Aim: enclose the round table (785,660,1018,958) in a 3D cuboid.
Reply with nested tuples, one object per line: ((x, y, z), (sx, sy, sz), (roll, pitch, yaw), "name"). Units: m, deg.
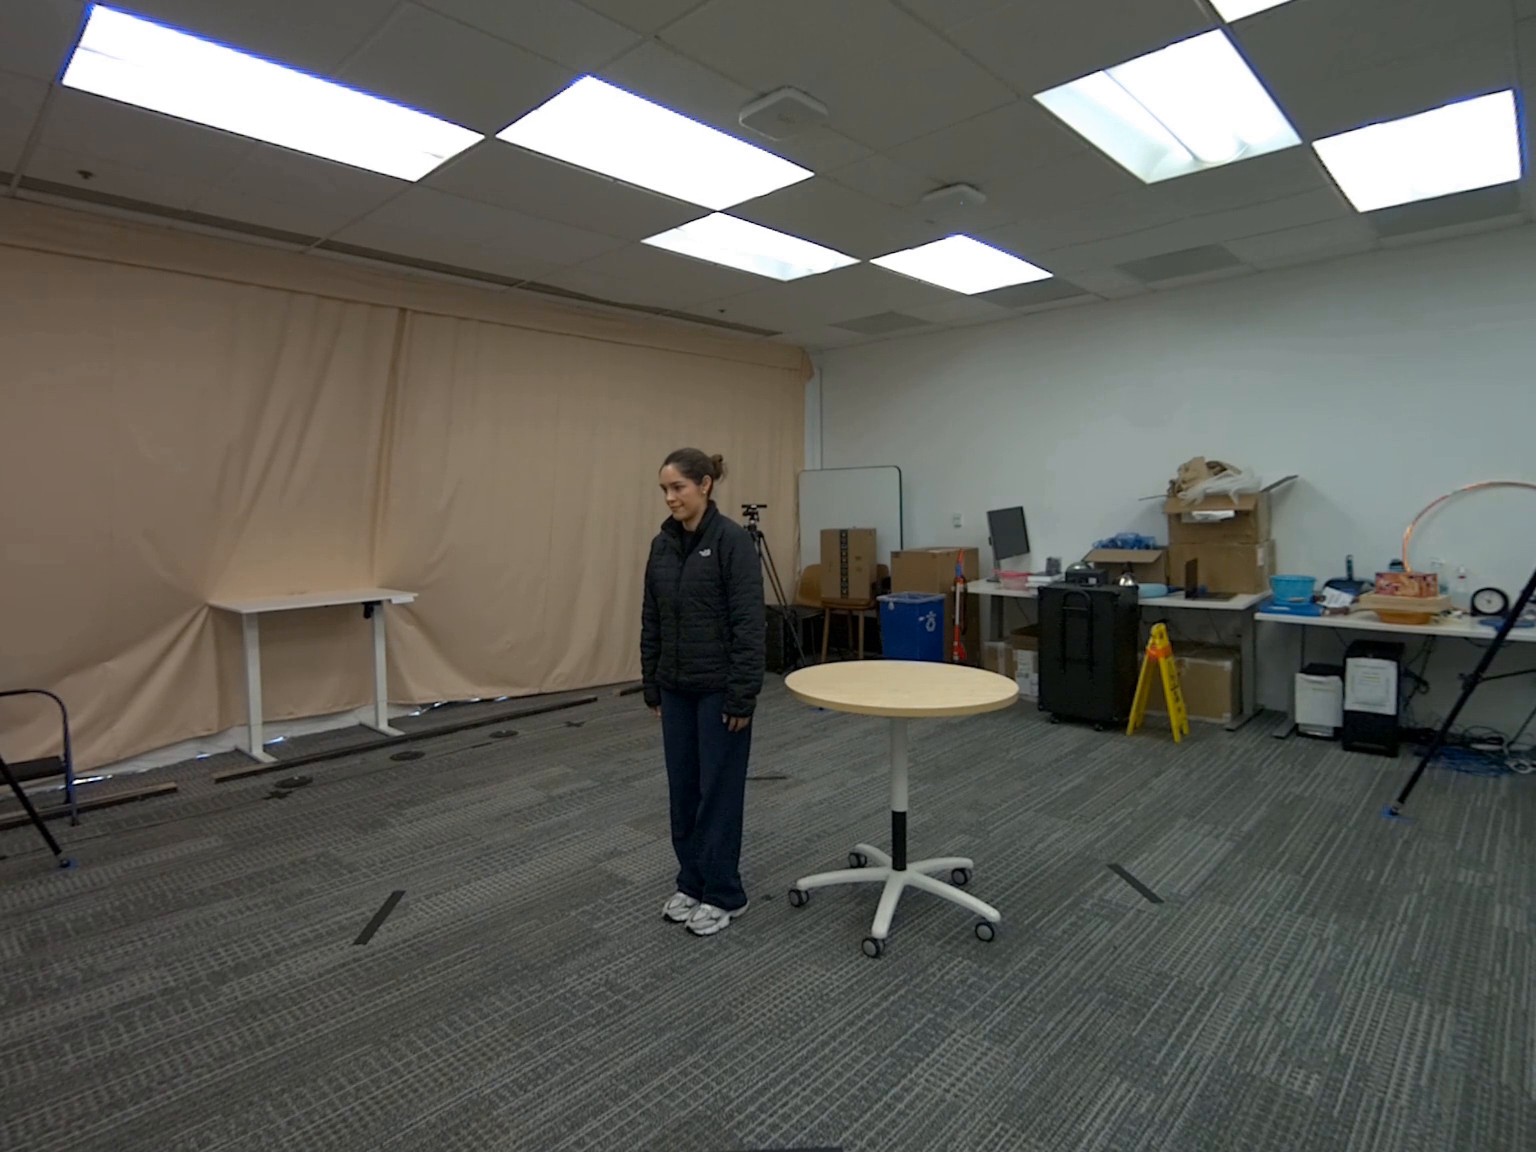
((0.454, 0.748, 2.873), (0.784, 0.785, 0.788), (0, 4, -2), "round table")
